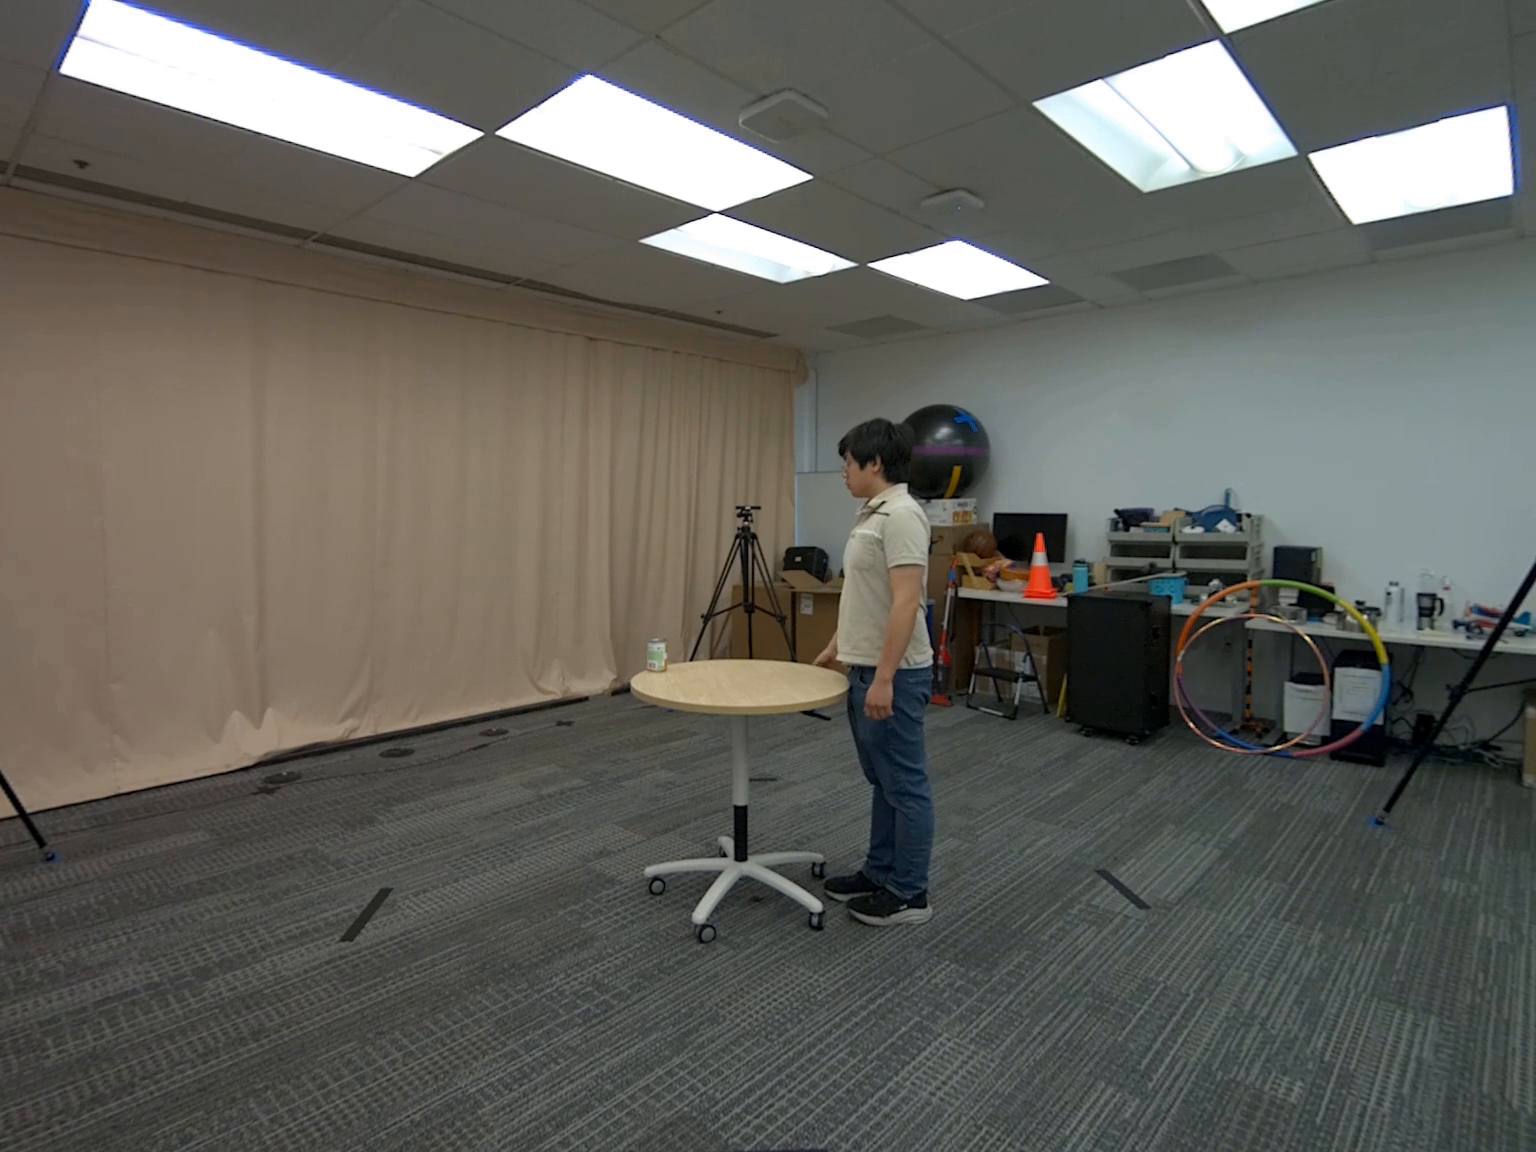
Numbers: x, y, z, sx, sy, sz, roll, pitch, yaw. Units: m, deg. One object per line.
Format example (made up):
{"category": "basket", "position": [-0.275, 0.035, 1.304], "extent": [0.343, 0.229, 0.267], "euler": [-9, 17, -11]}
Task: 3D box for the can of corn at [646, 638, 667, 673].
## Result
{"category": "can of corn", "position": [-0.412, 0.297, 3.113], "extent": [0.074, 0.111, 0.074], "euler": [2, -1, -2]}
